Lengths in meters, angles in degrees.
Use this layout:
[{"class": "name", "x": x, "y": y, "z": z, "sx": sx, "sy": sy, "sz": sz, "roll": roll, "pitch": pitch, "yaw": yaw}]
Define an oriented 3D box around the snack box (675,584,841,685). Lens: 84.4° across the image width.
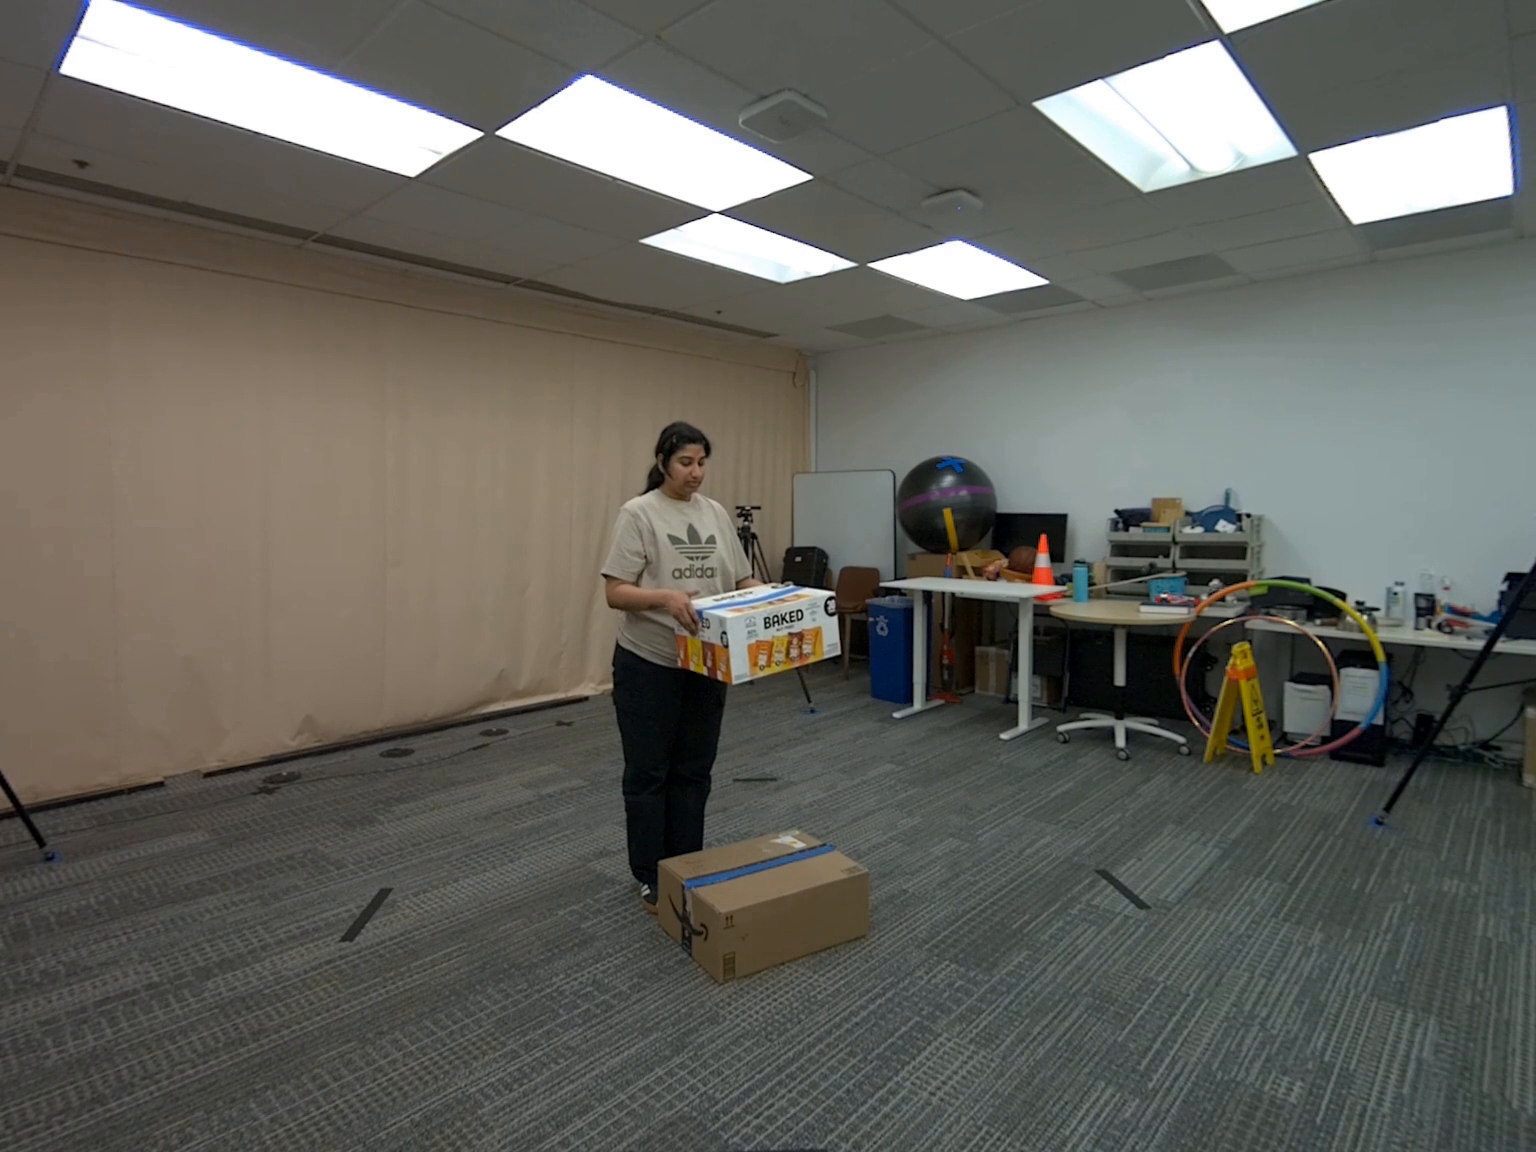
[{"class": "snack box", "x": -0.034, "y": 0.173, "z": 2.663, "sx": 0.395, "sy": 0.204, "sz": 0.351, "roll": -10, "pitch": 9, "yaw": -32}]
